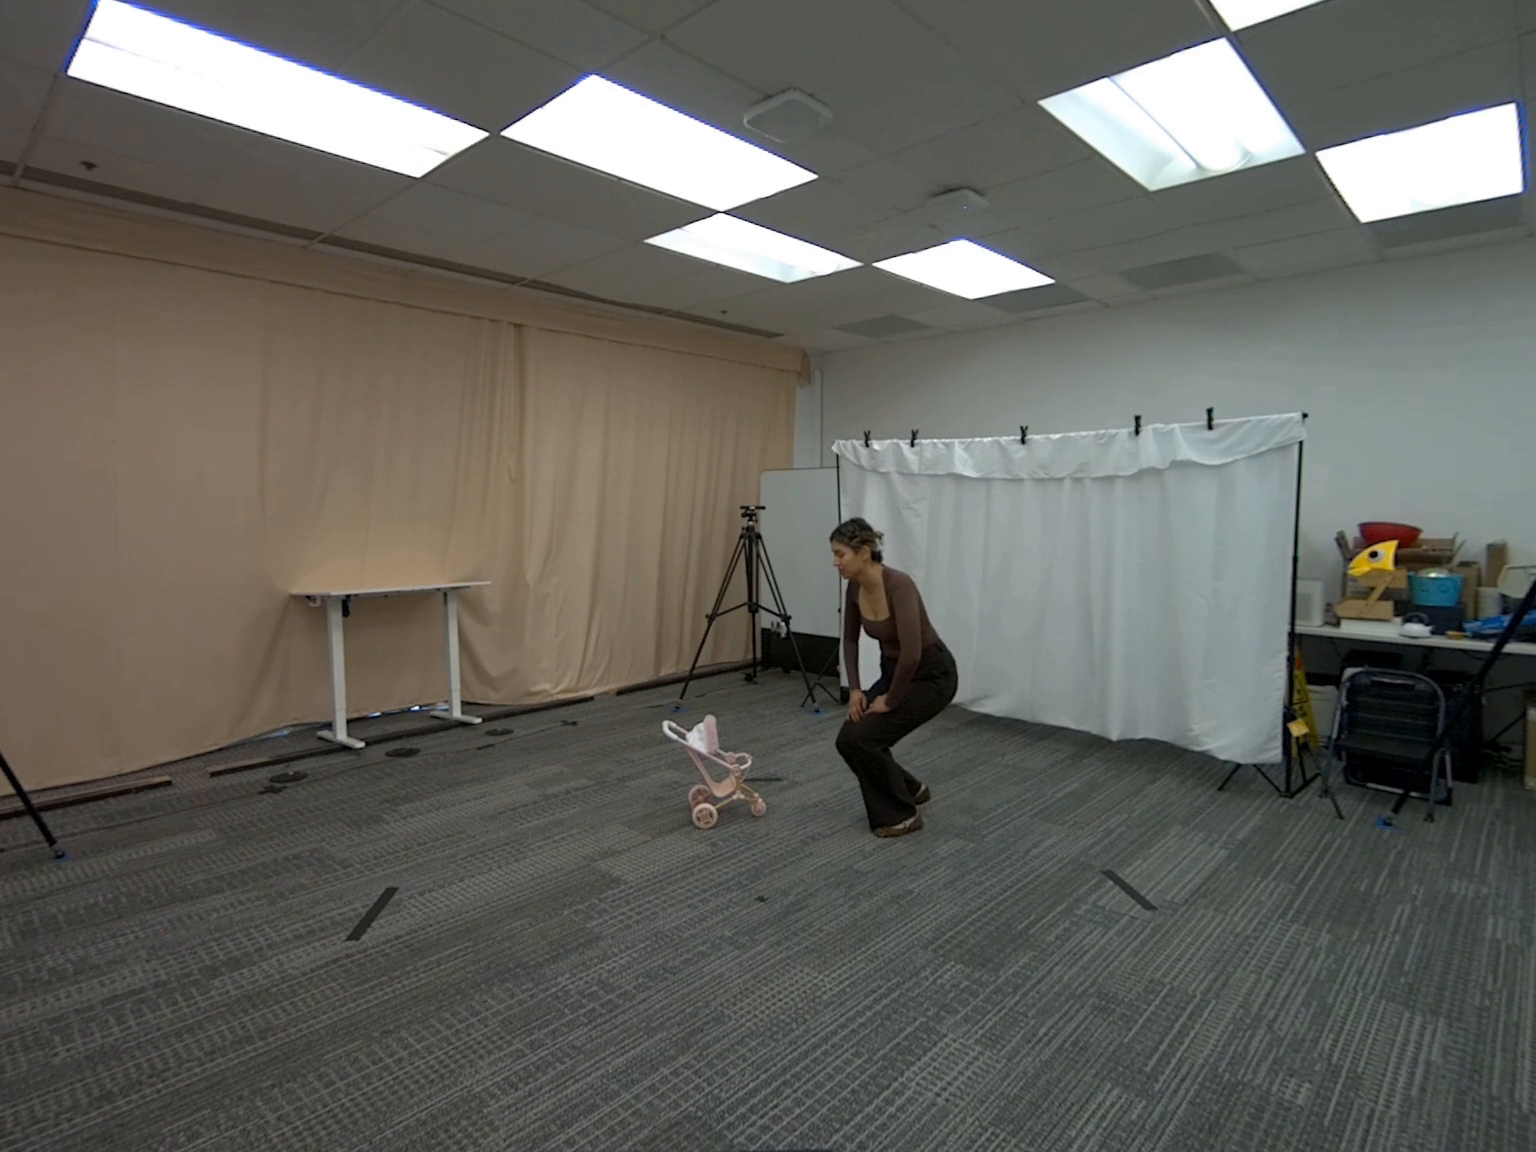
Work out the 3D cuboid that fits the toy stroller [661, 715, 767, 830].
[{"bbox_3d":[-0.233,0.862,3.767,0.341,0.533,0.283,-17,4,-2],"label":"toy stroller"}]
